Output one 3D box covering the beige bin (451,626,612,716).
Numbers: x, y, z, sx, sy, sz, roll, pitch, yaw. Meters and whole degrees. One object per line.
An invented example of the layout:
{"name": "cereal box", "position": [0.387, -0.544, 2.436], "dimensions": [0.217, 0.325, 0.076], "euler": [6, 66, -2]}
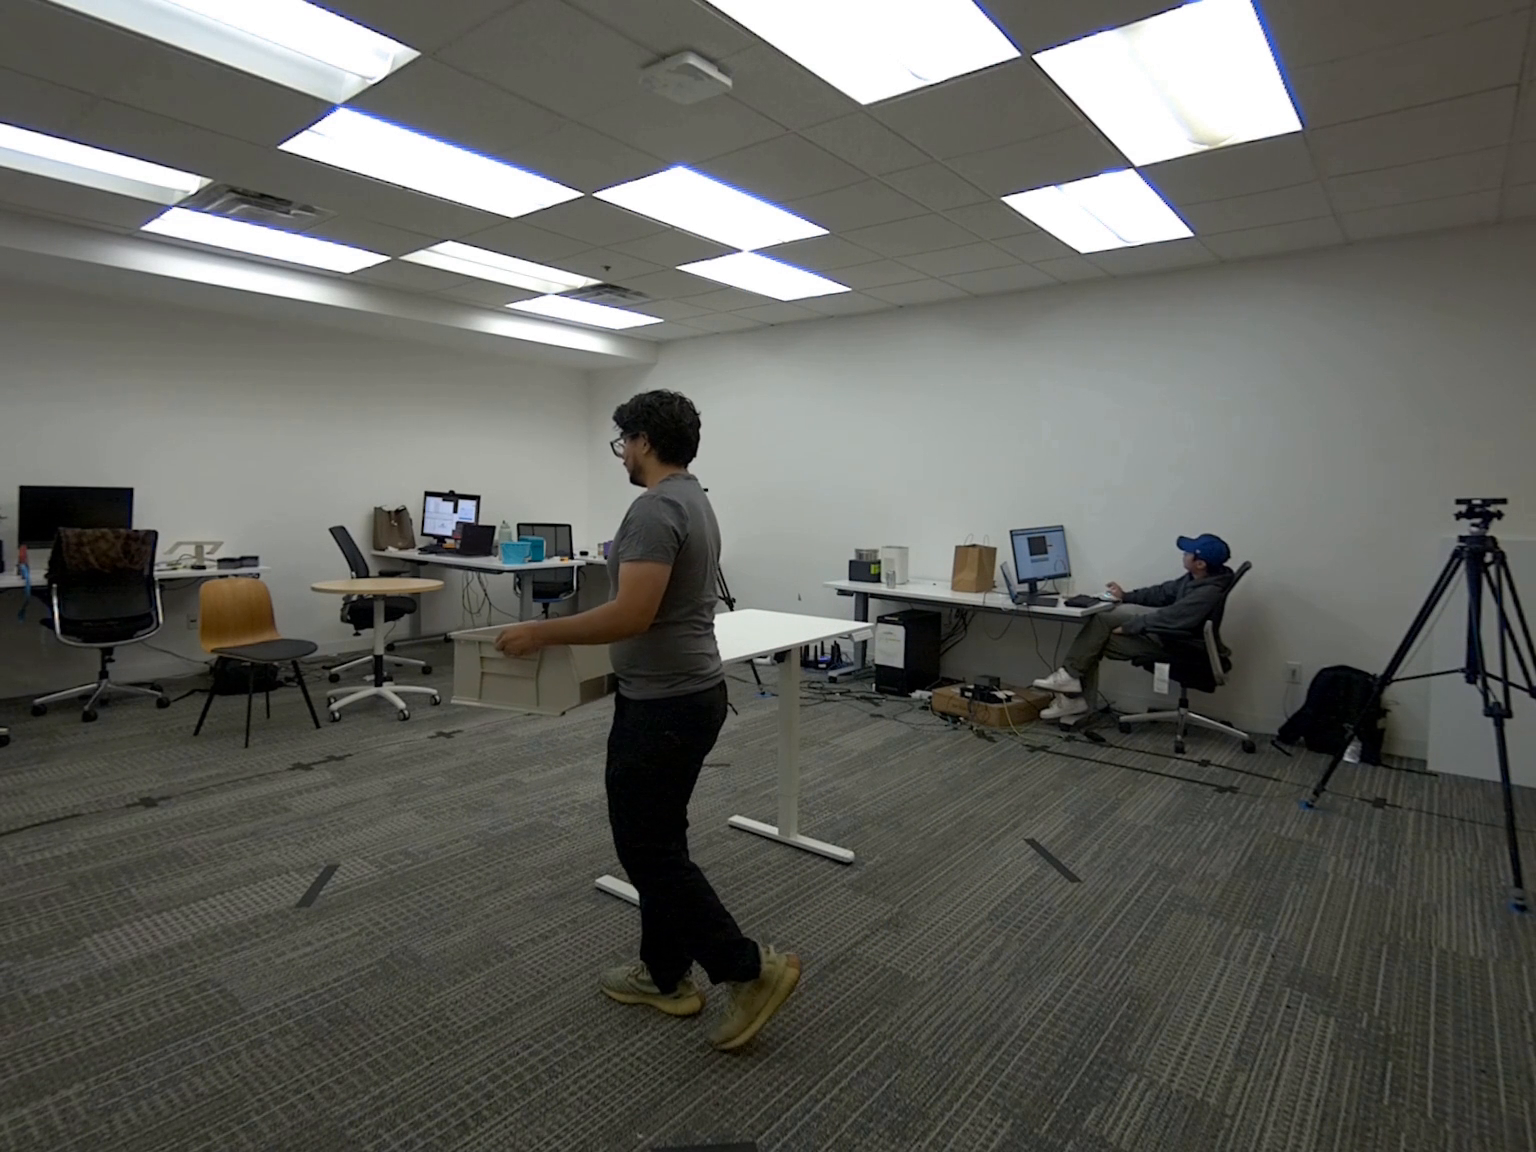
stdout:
{"name": "beige bin", "position": [-0.593, 0.231, 2.295], "dimensions": [0.384, 0.188, 0.416], "euler": [3, 5, 16]}
